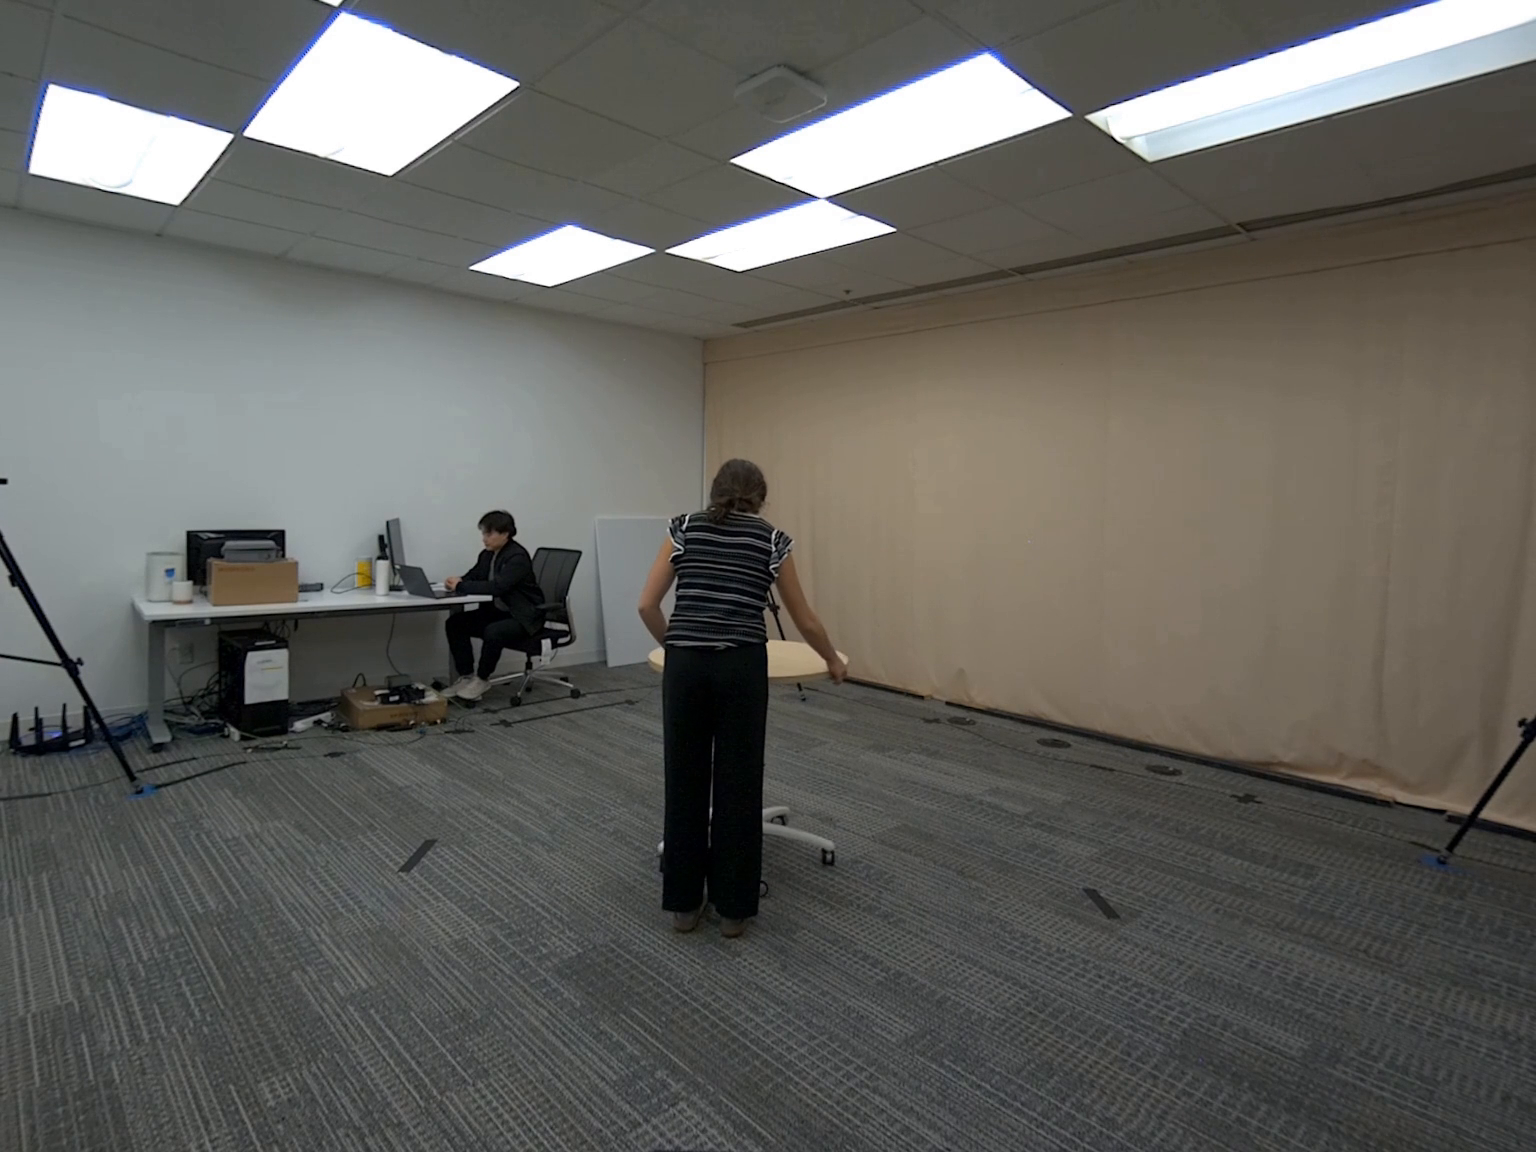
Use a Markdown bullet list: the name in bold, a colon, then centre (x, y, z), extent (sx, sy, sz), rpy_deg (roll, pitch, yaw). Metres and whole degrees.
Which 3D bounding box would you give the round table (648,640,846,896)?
- **round table**: centre (-0.096, 0.699, 3.281), extent (0.784, 0.784, 0.788), rpy_deg (1, 4, -1)
